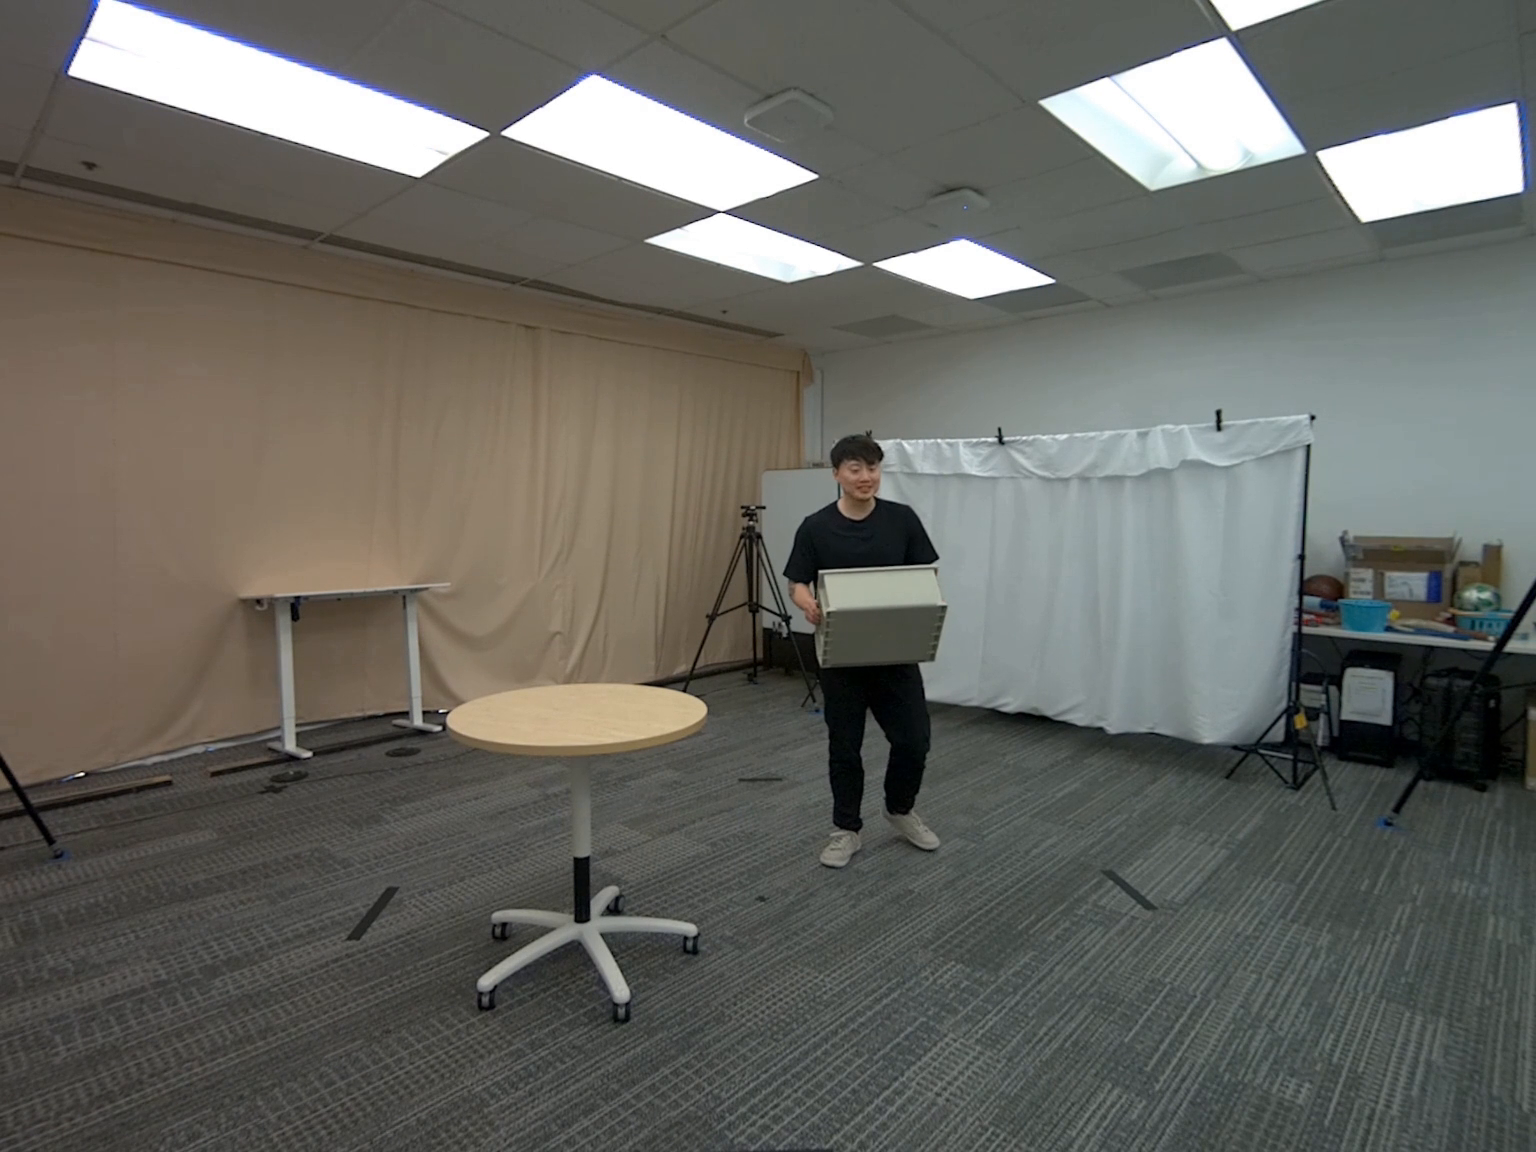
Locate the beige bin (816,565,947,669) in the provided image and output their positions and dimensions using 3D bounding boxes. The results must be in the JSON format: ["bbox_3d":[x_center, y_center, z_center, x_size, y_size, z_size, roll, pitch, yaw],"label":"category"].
[{"bbox_3d":[0.395,0.164,3.037,0.423,0.370,0.192,-1,47,0],"label":"beige bin"}]
